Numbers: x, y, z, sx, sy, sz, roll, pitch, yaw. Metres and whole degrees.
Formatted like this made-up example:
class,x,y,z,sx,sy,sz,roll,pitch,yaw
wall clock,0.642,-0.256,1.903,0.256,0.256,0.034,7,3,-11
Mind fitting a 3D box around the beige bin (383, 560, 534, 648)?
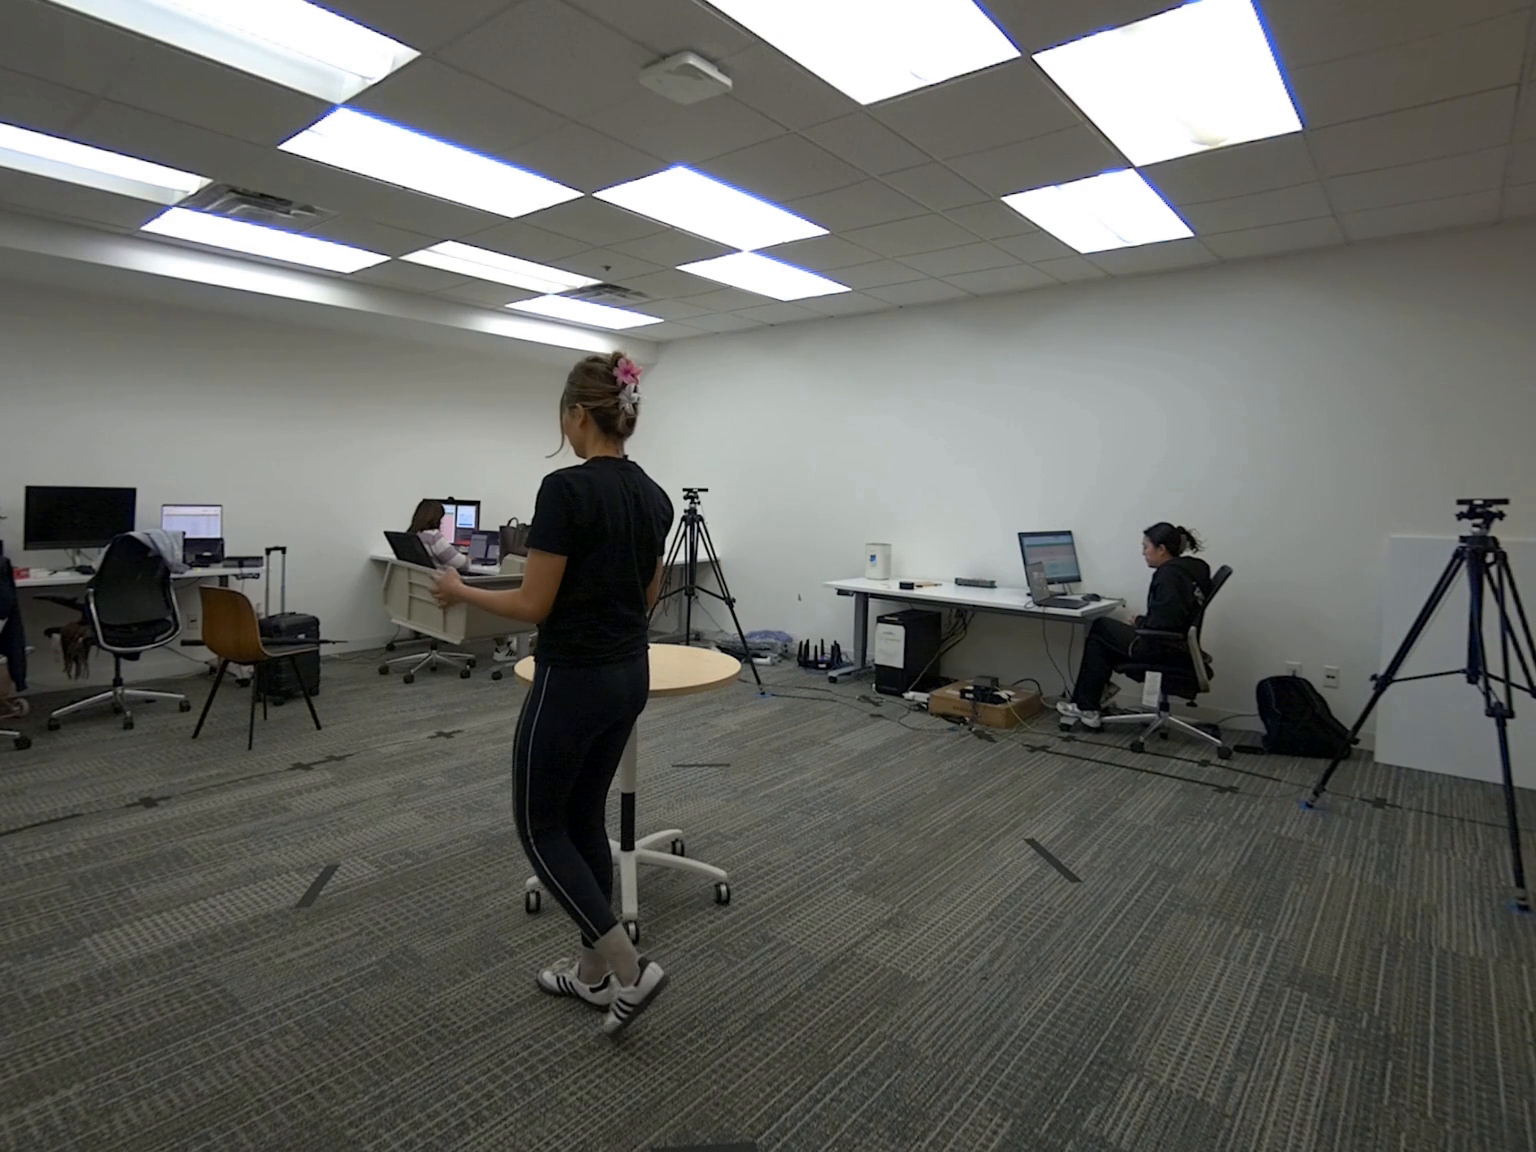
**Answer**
class,x,y,z,sx,sy,sz,roll,pitch,yaw
beige bin,-0.840,0.056,2.473,0.391,0.188,0.410,12,9,35
